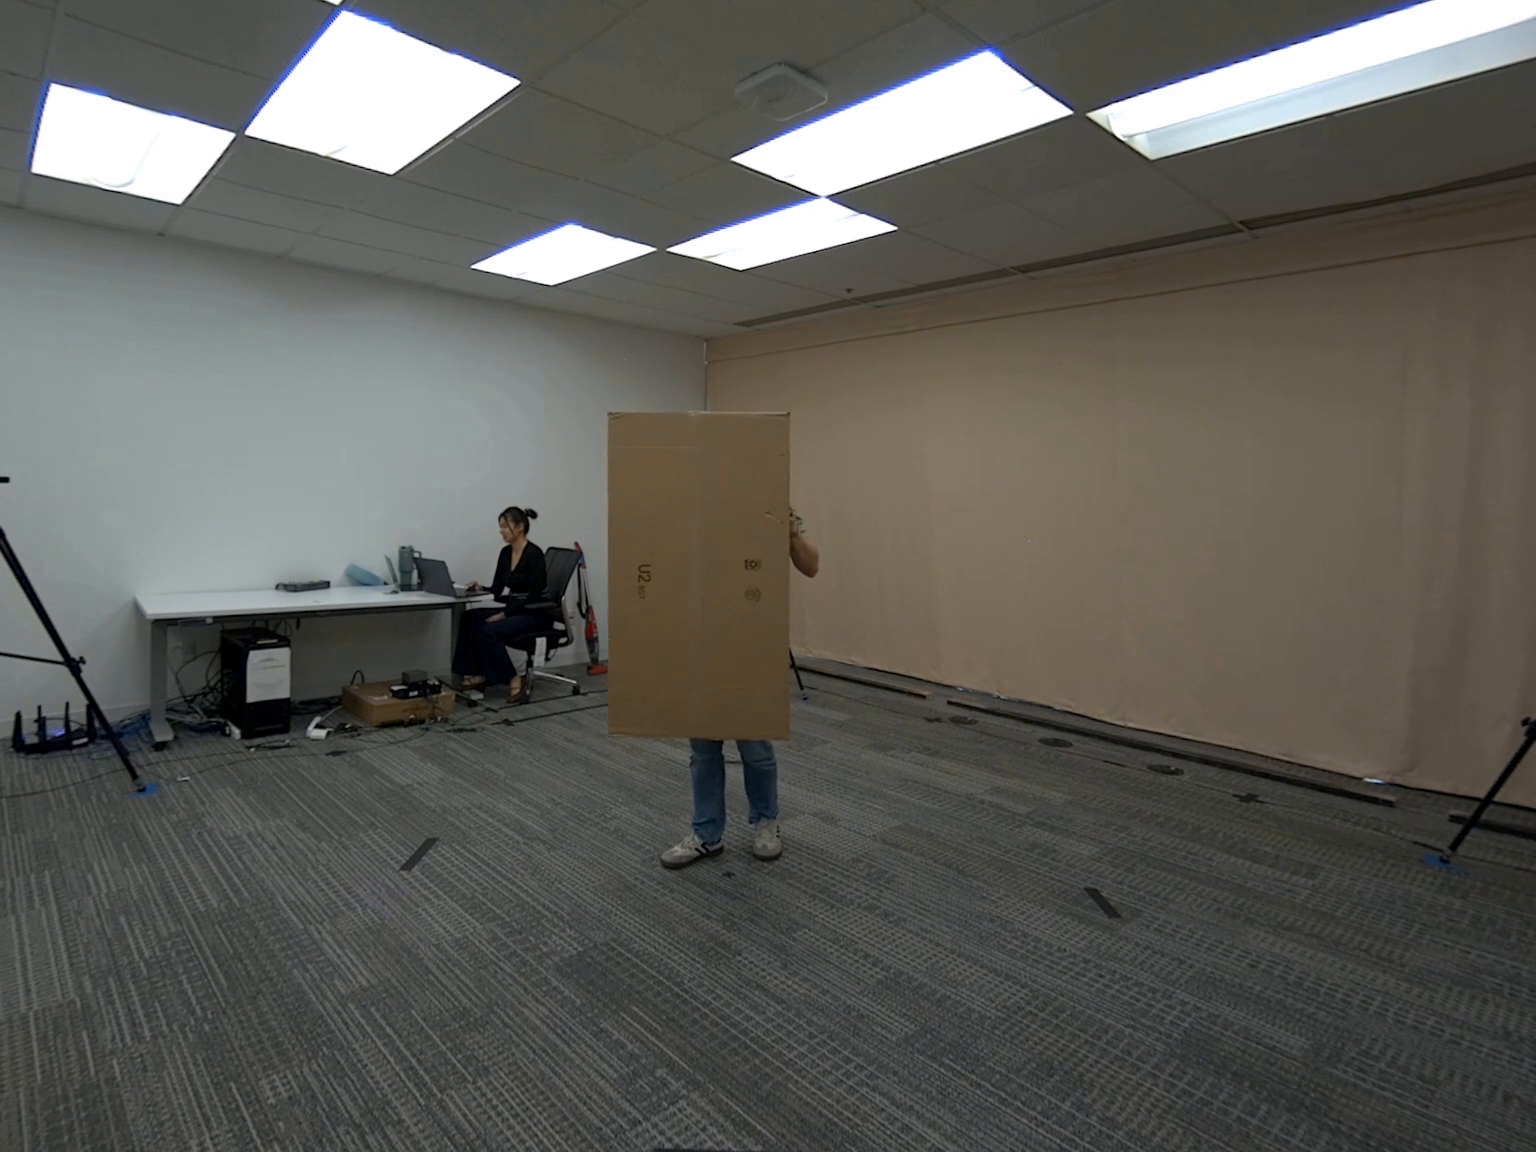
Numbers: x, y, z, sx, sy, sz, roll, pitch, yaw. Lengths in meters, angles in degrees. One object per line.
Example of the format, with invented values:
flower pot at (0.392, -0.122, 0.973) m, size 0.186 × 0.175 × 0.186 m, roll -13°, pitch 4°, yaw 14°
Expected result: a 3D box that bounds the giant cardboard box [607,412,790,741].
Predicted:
giant cardboard box at (-0.221, -0.016, 2.833) m, size 0.578 × 1.024 × 0.426 m, roll 0°, pitch 2°, yaw 1°
